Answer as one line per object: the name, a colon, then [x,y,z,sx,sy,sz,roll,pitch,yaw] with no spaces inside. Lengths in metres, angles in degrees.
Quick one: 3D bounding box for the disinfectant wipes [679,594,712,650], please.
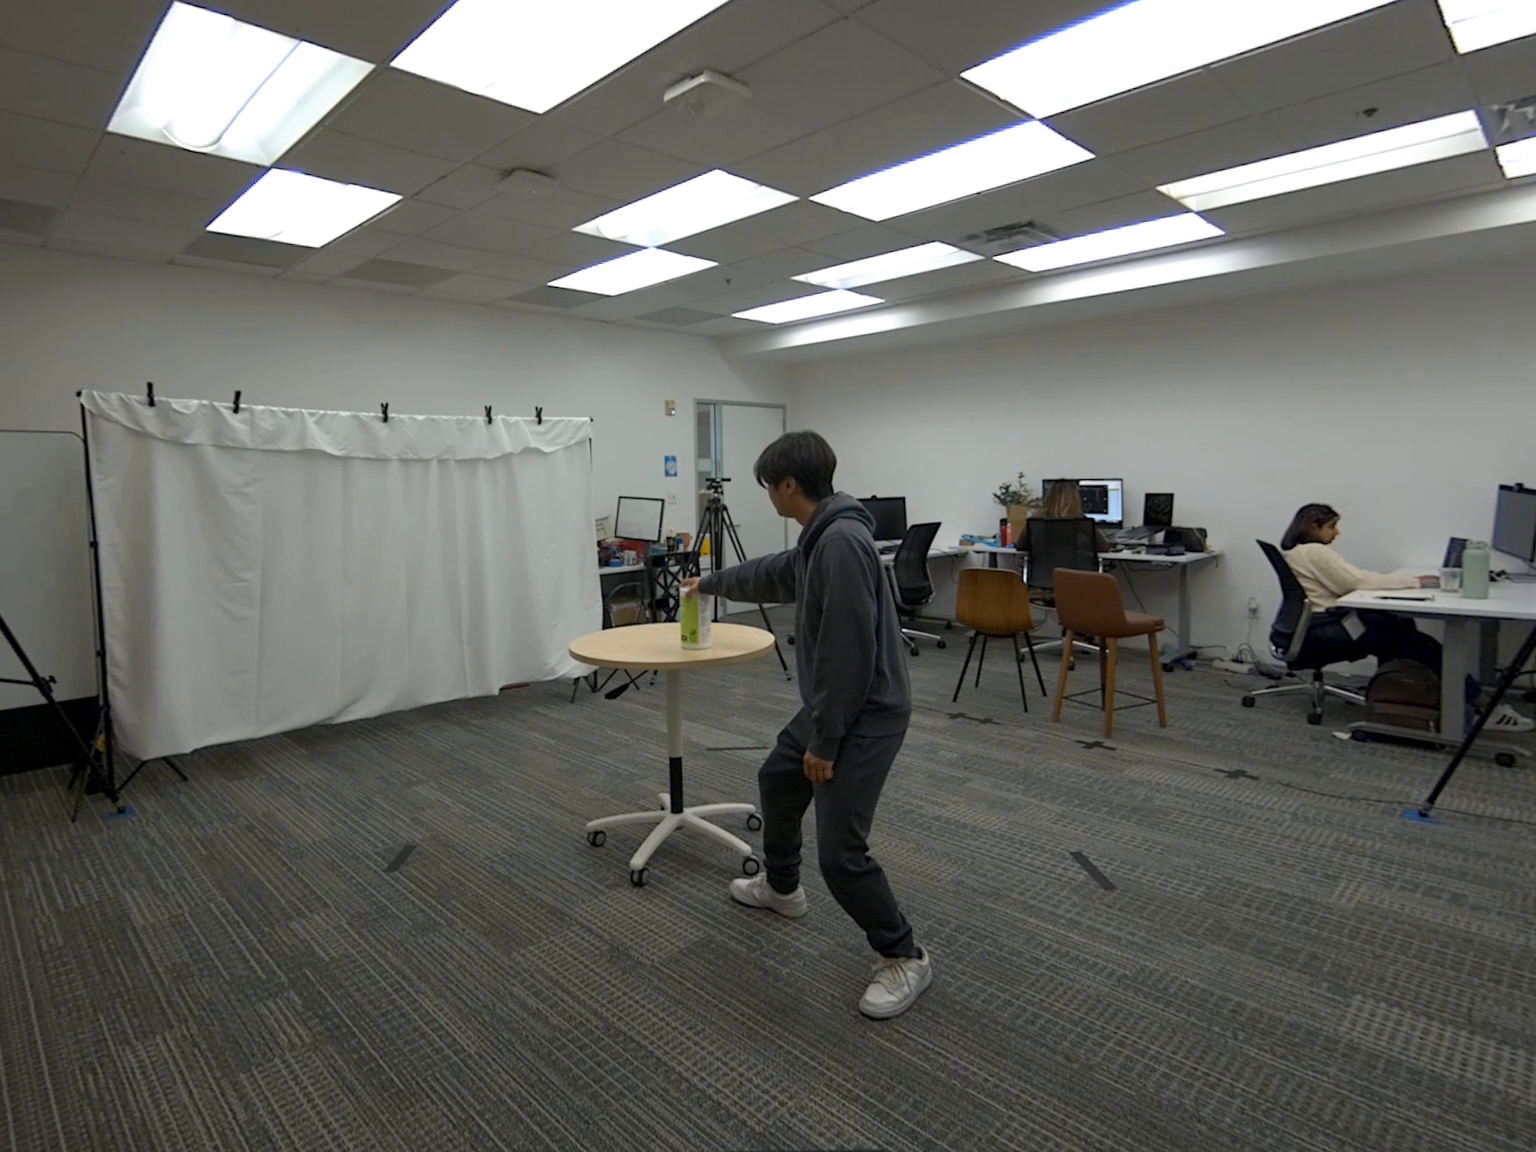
disinfectant wipes: [-0.253,0.148,3.049,0.118,0.216,0.118,0,5,-2]
